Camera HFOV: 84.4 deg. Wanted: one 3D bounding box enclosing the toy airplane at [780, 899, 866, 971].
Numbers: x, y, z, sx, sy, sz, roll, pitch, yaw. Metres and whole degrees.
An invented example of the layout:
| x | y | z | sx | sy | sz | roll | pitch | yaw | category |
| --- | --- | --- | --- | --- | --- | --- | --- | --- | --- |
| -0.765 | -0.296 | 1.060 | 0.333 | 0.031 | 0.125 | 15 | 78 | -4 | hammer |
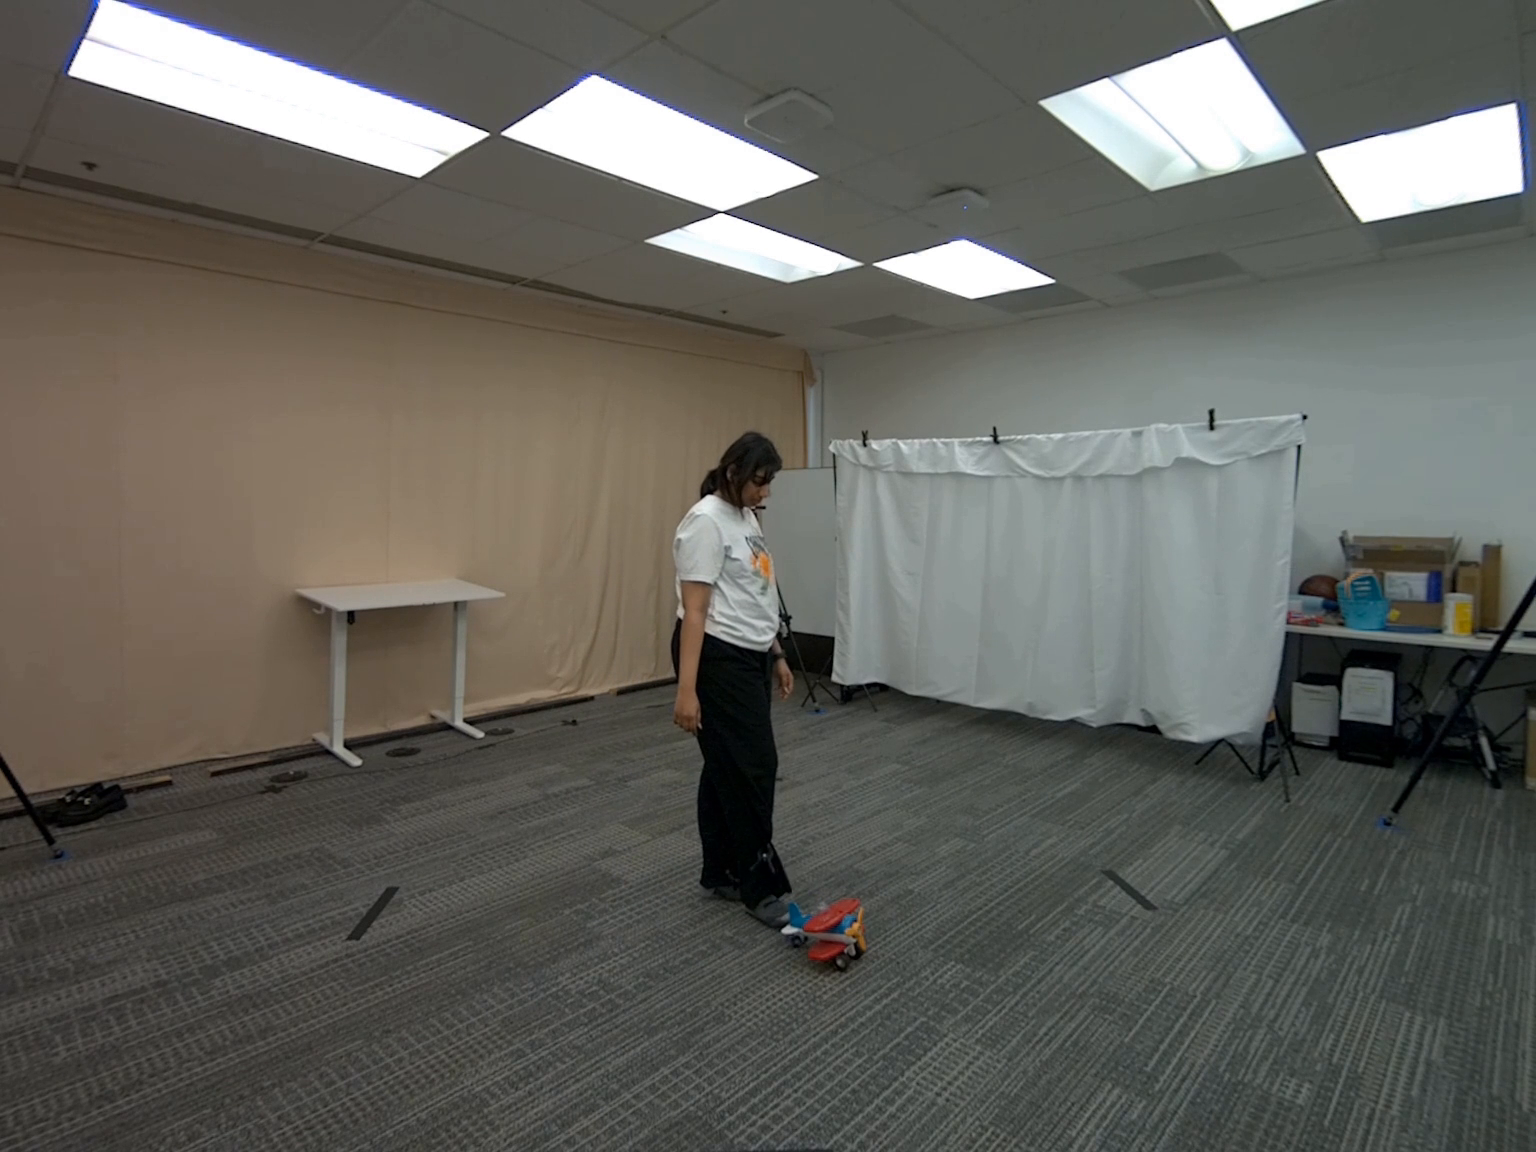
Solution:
| x | y | z | sx | sy | sz | roll | pitch | yaw | category |
| --- | --- | --- | --- | --- | --- | --- | --- | --- | --- |
| 0.175 | 1.098 | 2.591 | 0.262 | 0.156 | 0.249 | 2 | 5 | 10 | toy airplane |
